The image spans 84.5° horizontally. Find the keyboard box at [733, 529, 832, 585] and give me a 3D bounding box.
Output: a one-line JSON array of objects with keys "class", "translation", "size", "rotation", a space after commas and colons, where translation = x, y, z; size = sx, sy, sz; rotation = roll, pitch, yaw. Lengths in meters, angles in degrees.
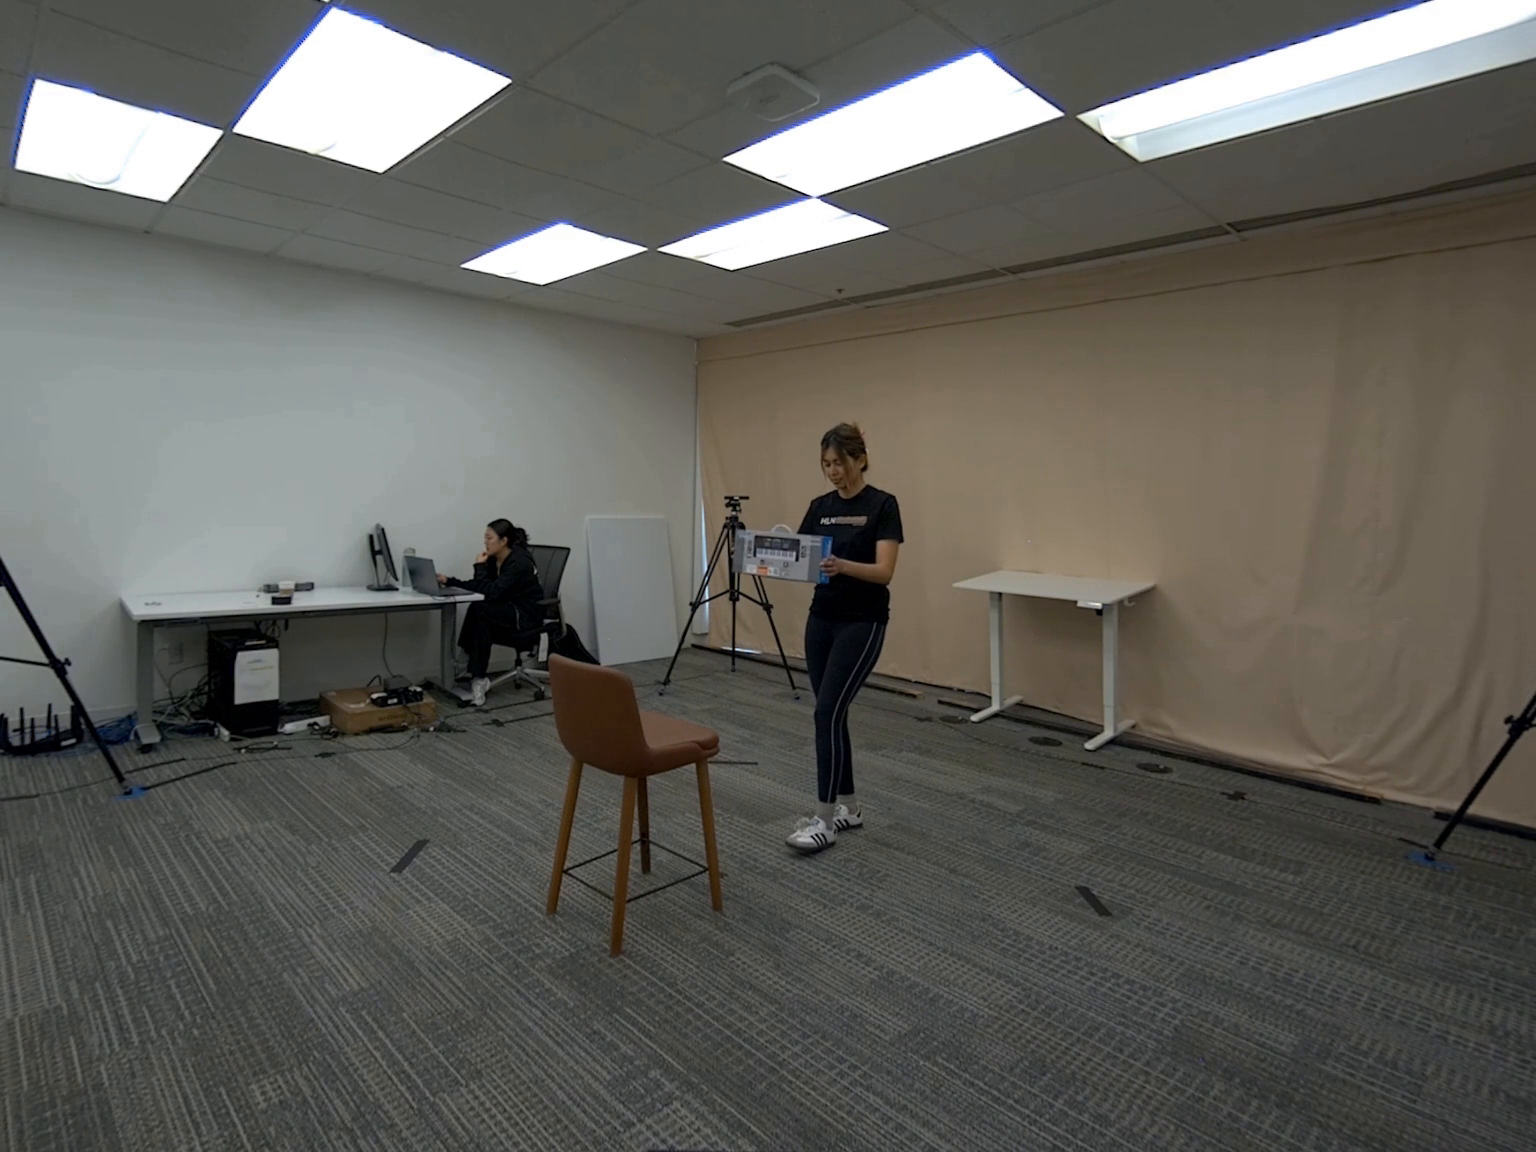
[{"class": "keyboard box", "translation": [0.040, -0.075, 3.220], "size": [0.448, 0.176, 0.057], "rotation": [7, 3, 42]}]
